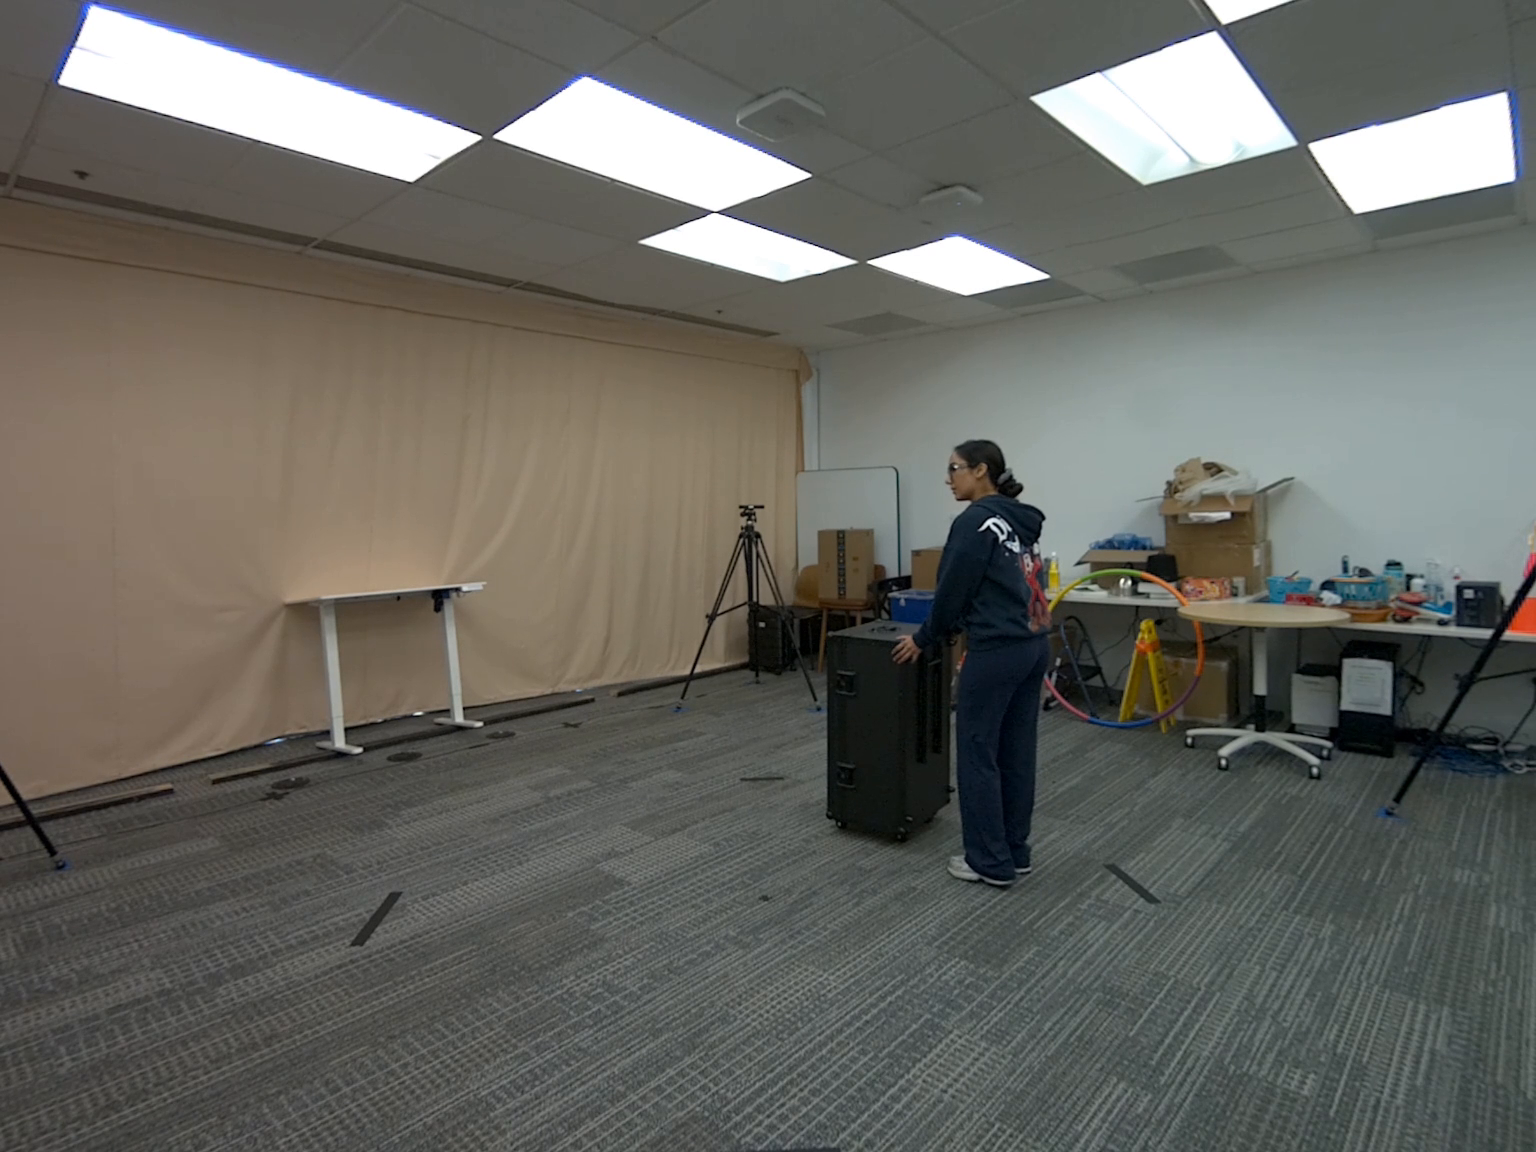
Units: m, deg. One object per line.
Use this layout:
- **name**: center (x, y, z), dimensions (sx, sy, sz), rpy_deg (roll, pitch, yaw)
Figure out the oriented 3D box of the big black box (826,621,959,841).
- **big black box**: center (0.538, 0.653, 3.608), dimensions (0.409, 0.859, 0.506), rpy_deg (3, 5, 35)
